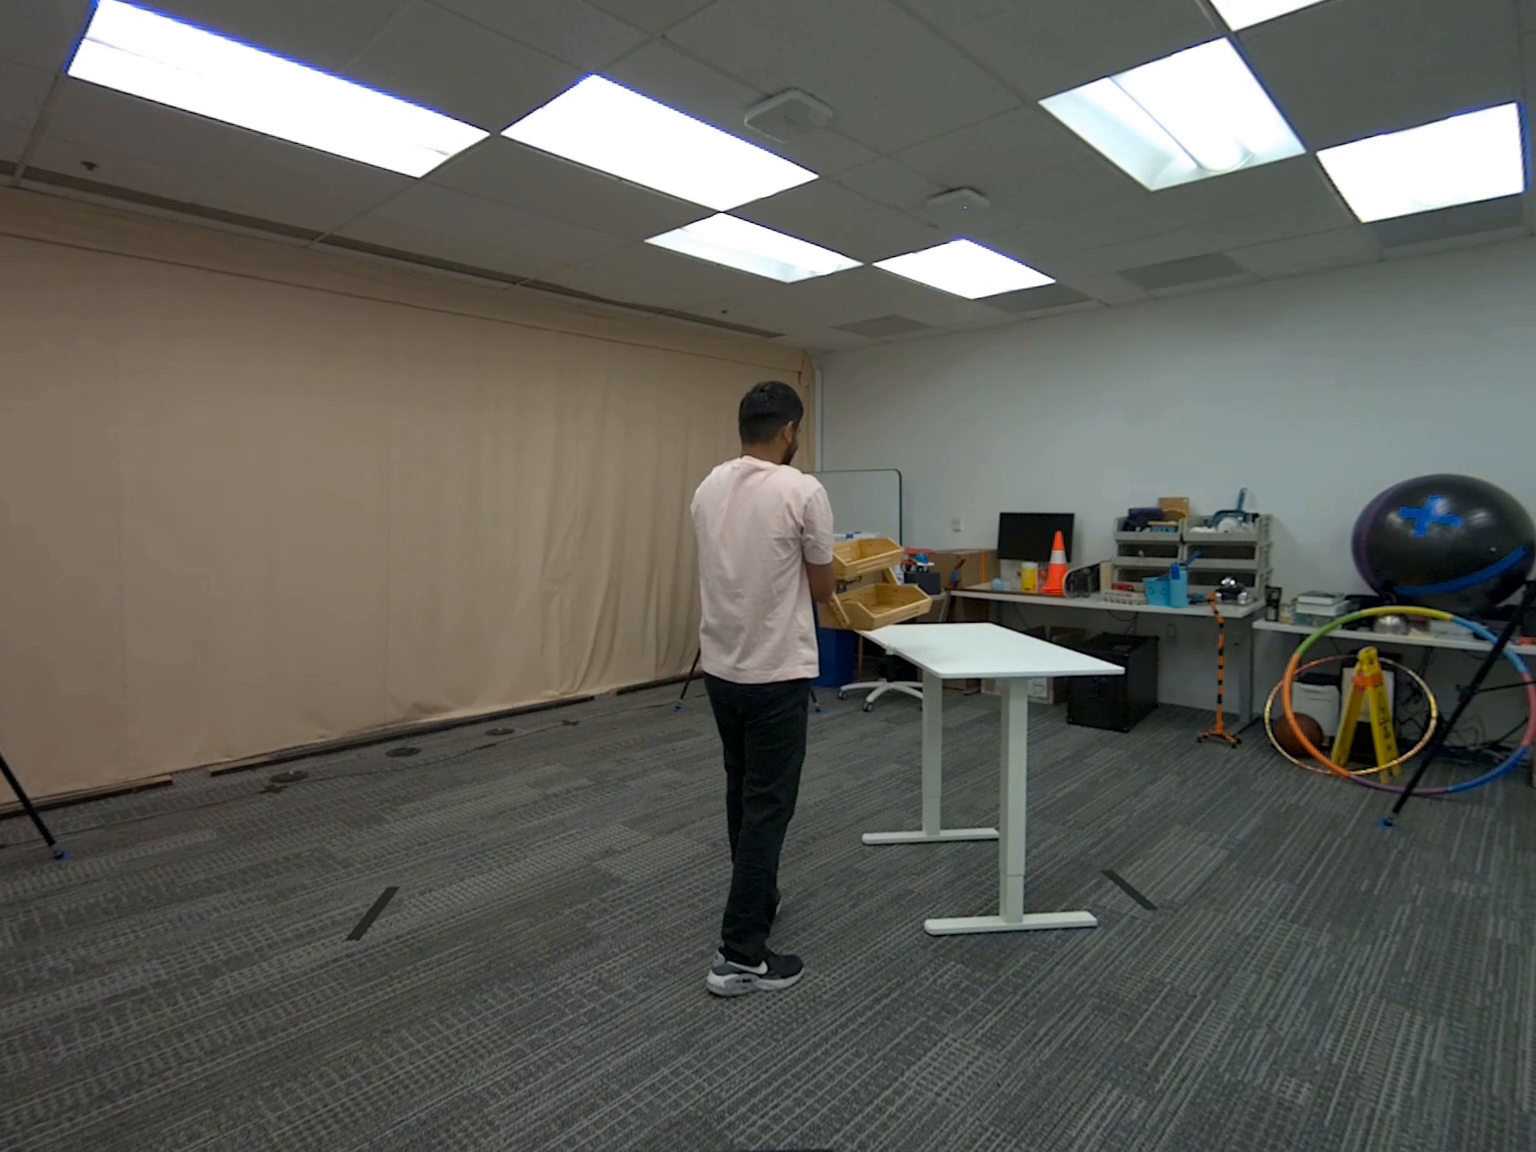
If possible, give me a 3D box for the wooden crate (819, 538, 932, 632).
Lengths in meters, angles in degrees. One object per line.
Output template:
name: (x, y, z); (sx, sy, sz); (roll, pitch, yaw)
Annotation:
wooden crate: (0.344, 0.019, 2.879); (0.316, 0.272, 0.311); (-13, 9, -40)
